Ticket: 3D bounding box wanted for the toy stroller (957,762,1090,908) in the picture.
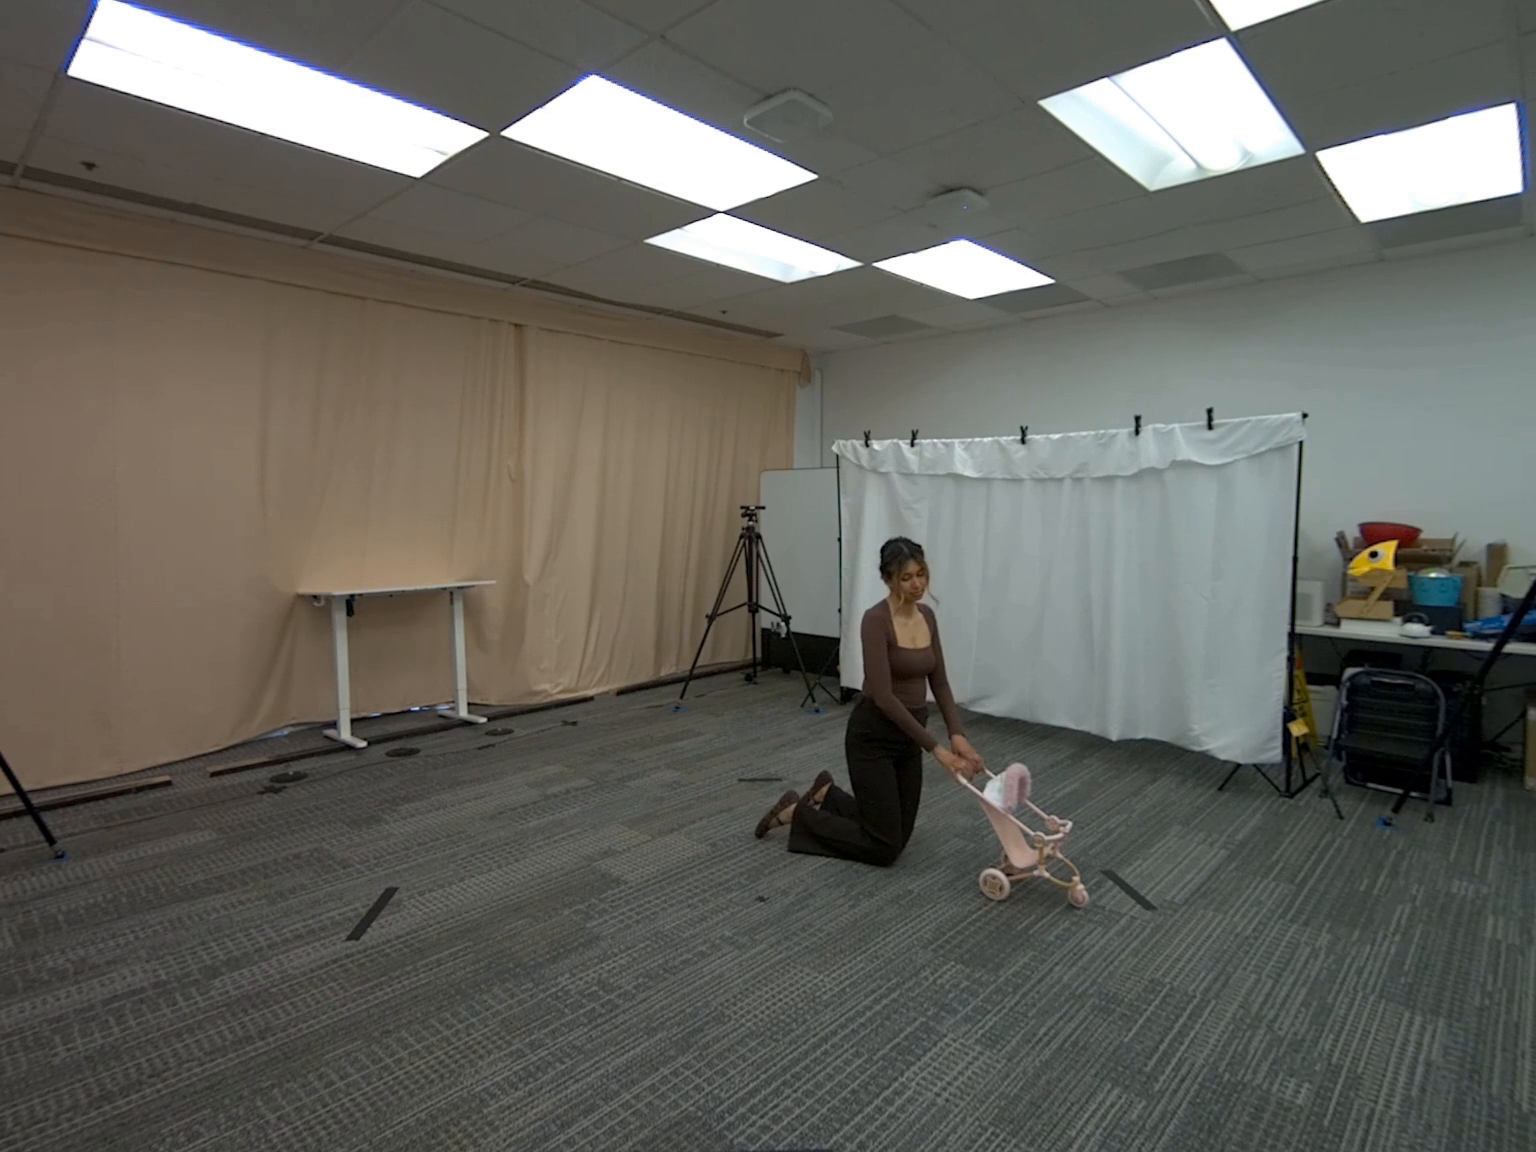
[{"bbox_3d":[0.920,0.914,3.022,0.349,0.539,0.273,-20,-10,39],"label":"toy stroller"}]
